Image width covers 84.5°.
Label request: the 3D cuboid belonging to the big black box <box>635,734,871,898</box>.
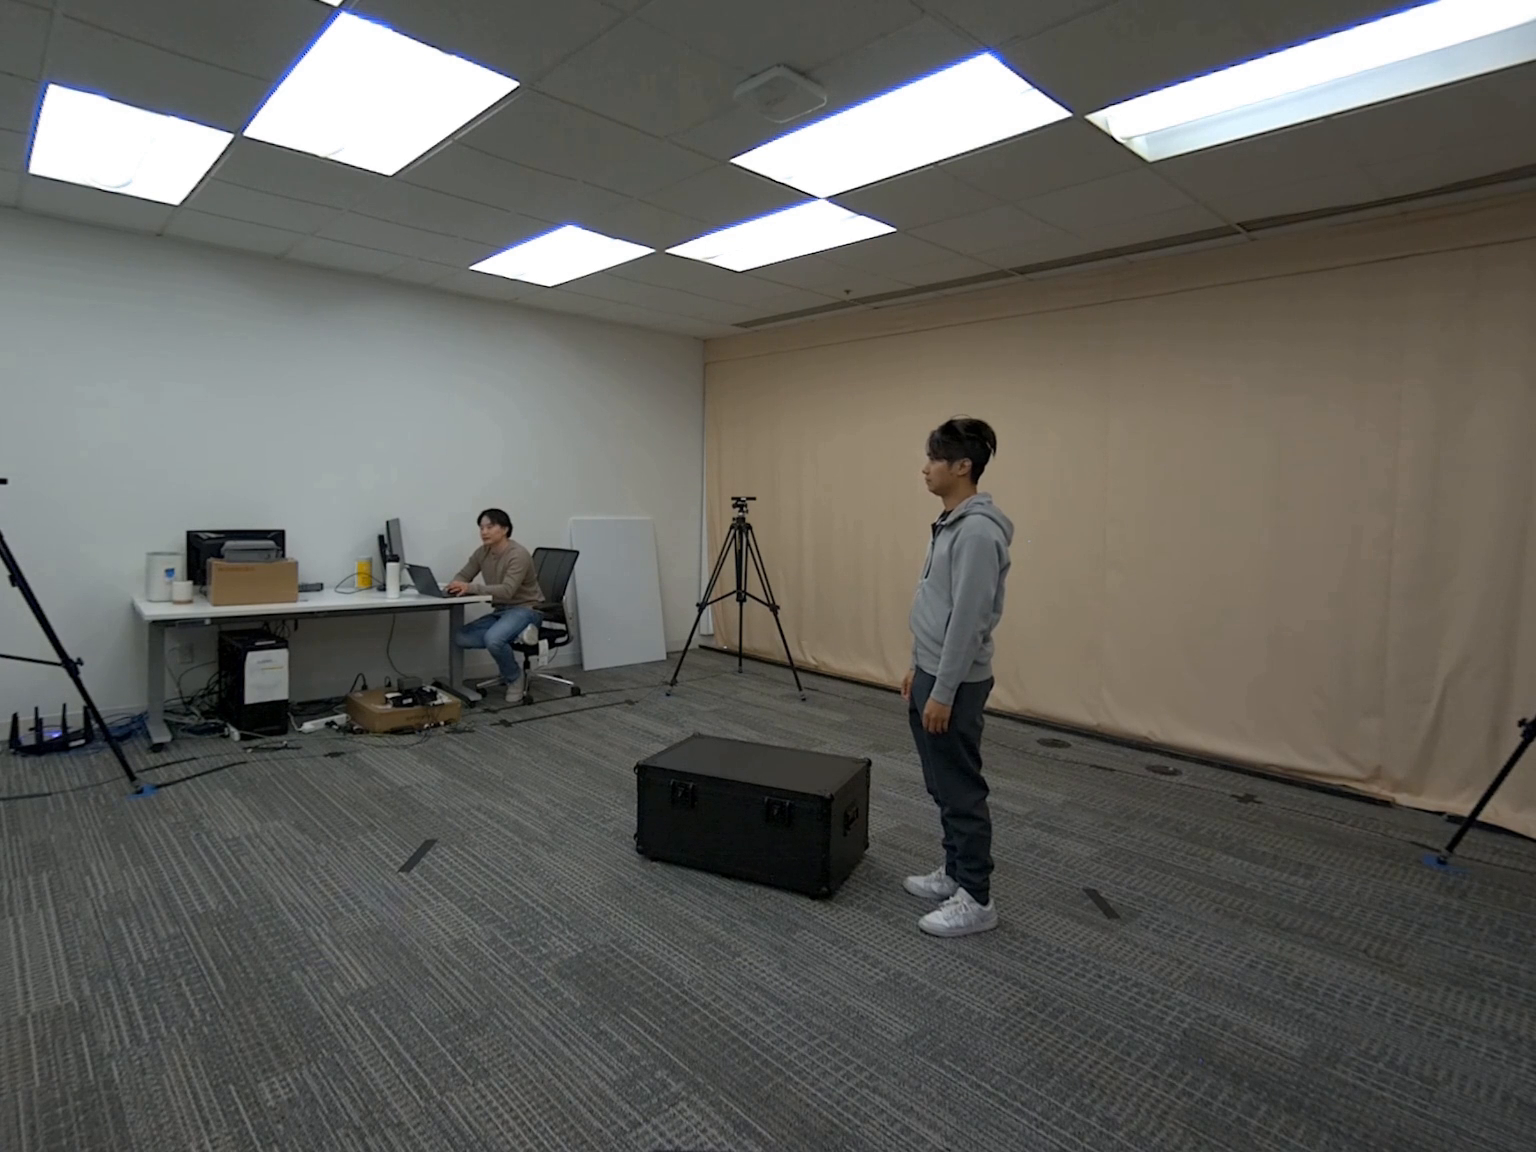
[{"bbox_3d":[-0.031,0.904,3.255,0.878,0.395,0.513,3,5,25],"label":"big black box"}]
